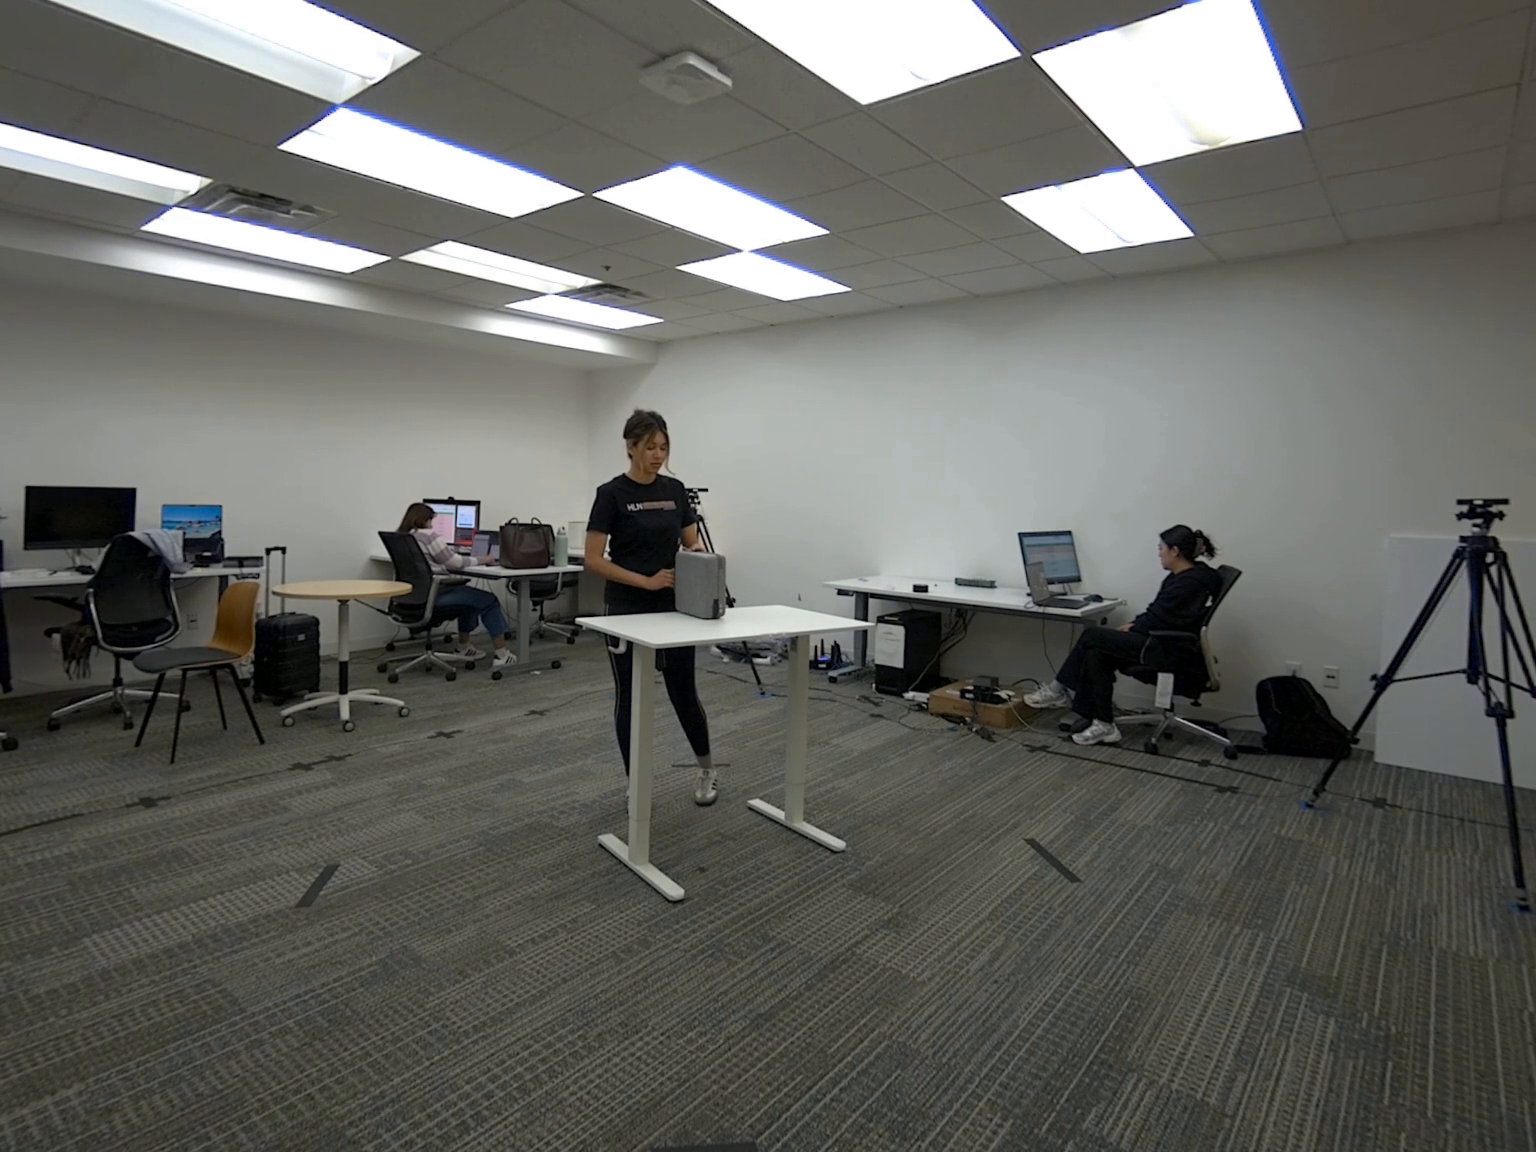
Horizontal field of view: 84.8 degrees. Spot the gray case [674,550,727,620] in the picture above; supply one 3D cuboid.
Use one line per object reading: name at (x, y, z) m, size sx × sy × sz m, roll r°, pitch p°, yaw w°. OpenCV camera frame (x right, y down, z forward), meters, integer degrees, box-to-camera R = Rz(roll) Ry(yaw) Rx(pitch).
gray case at (-0.284, 0.024, 3.399) m, size 0.101 × 0.256 × 0.269 m, roll -3°, pitch 5°, yaw -35°
